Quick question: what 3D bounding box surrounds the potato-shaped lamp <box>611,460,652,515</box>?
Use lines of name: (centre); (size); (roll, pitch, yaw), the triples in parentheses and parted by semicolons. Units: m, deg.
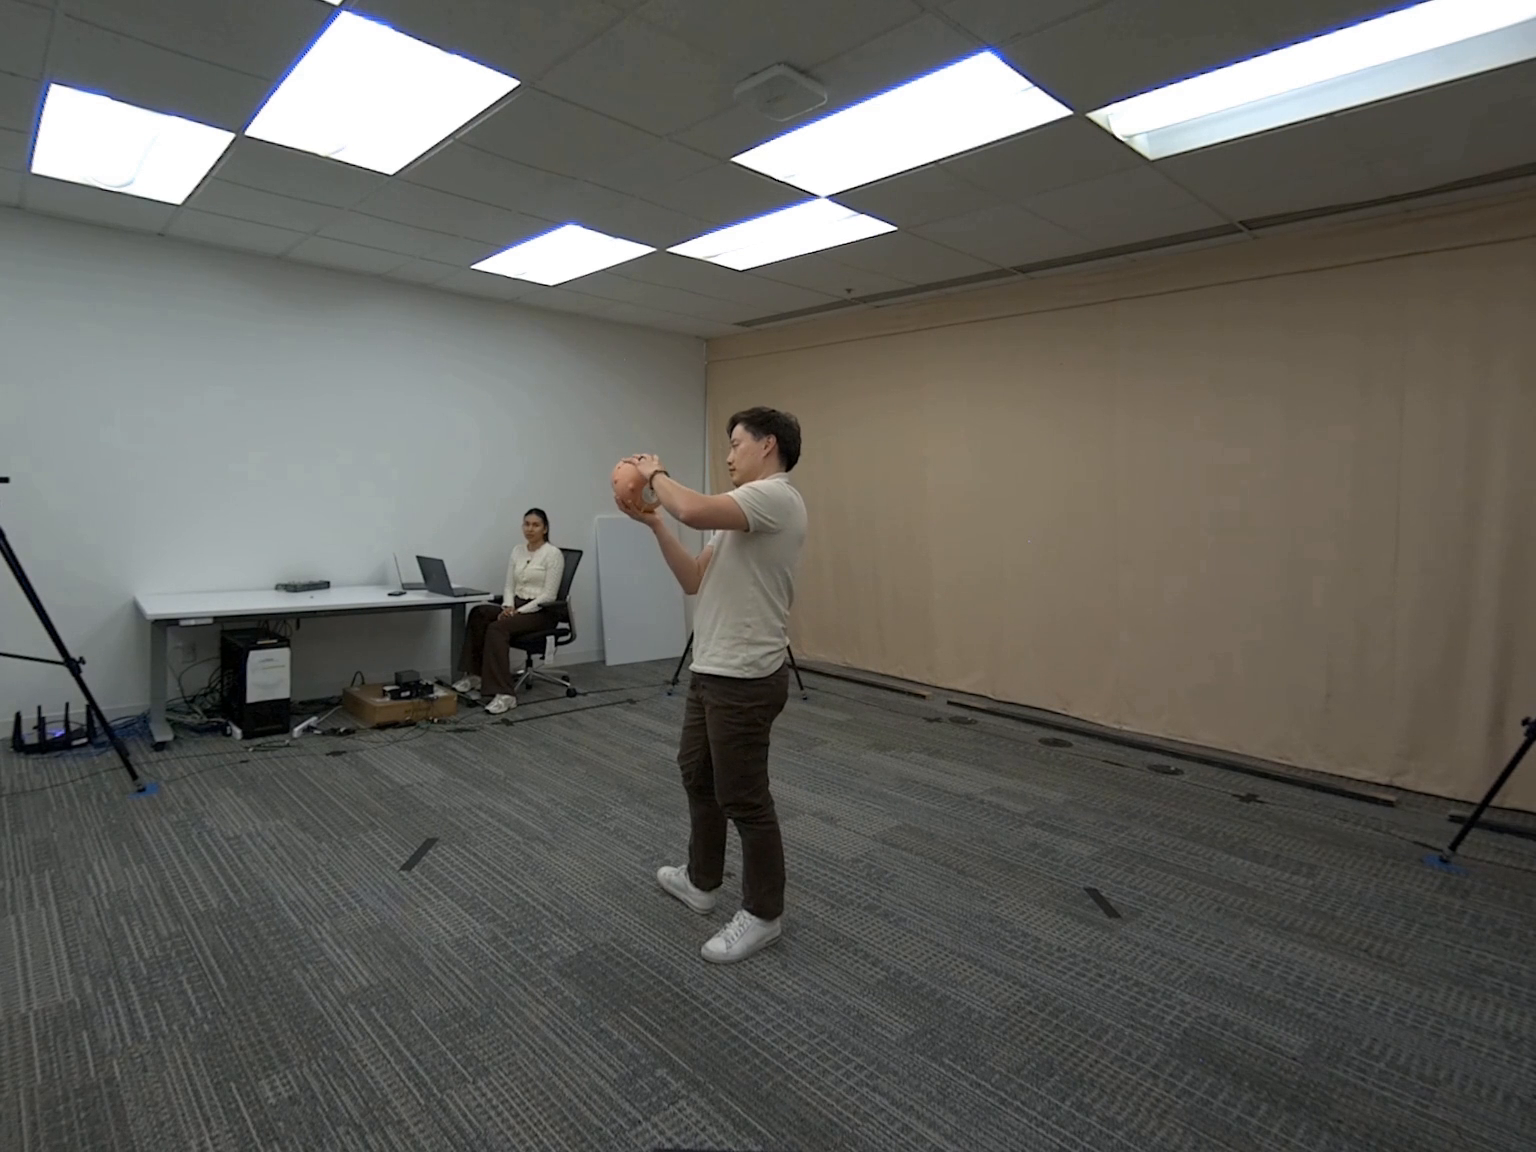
potato-shaped lamp: (-0.412, -0.296, 2.662); (0.204, 0.164, 0.166); (38, -17, 39)
